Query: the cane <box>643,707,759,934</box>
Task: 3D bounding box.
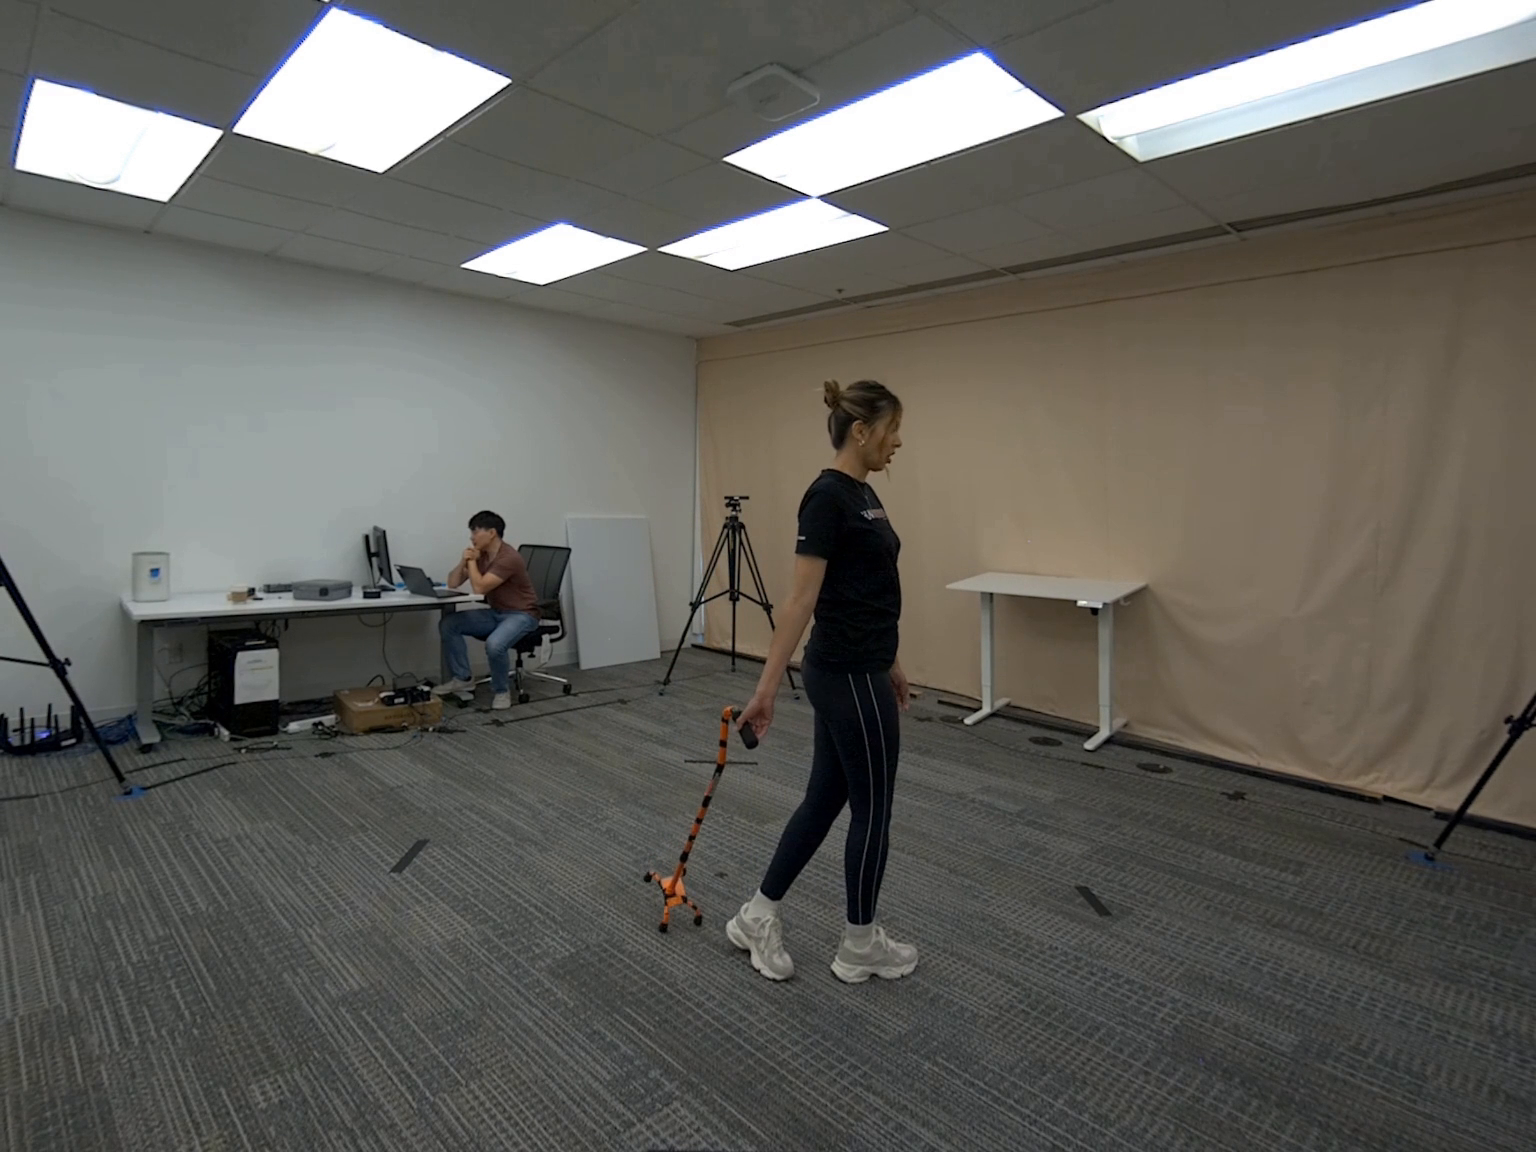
[{"bbox_3d":[-0.202,0.730,2.524,0.149,0.896,0.213,0,39,-26],"label":"cane"}]
